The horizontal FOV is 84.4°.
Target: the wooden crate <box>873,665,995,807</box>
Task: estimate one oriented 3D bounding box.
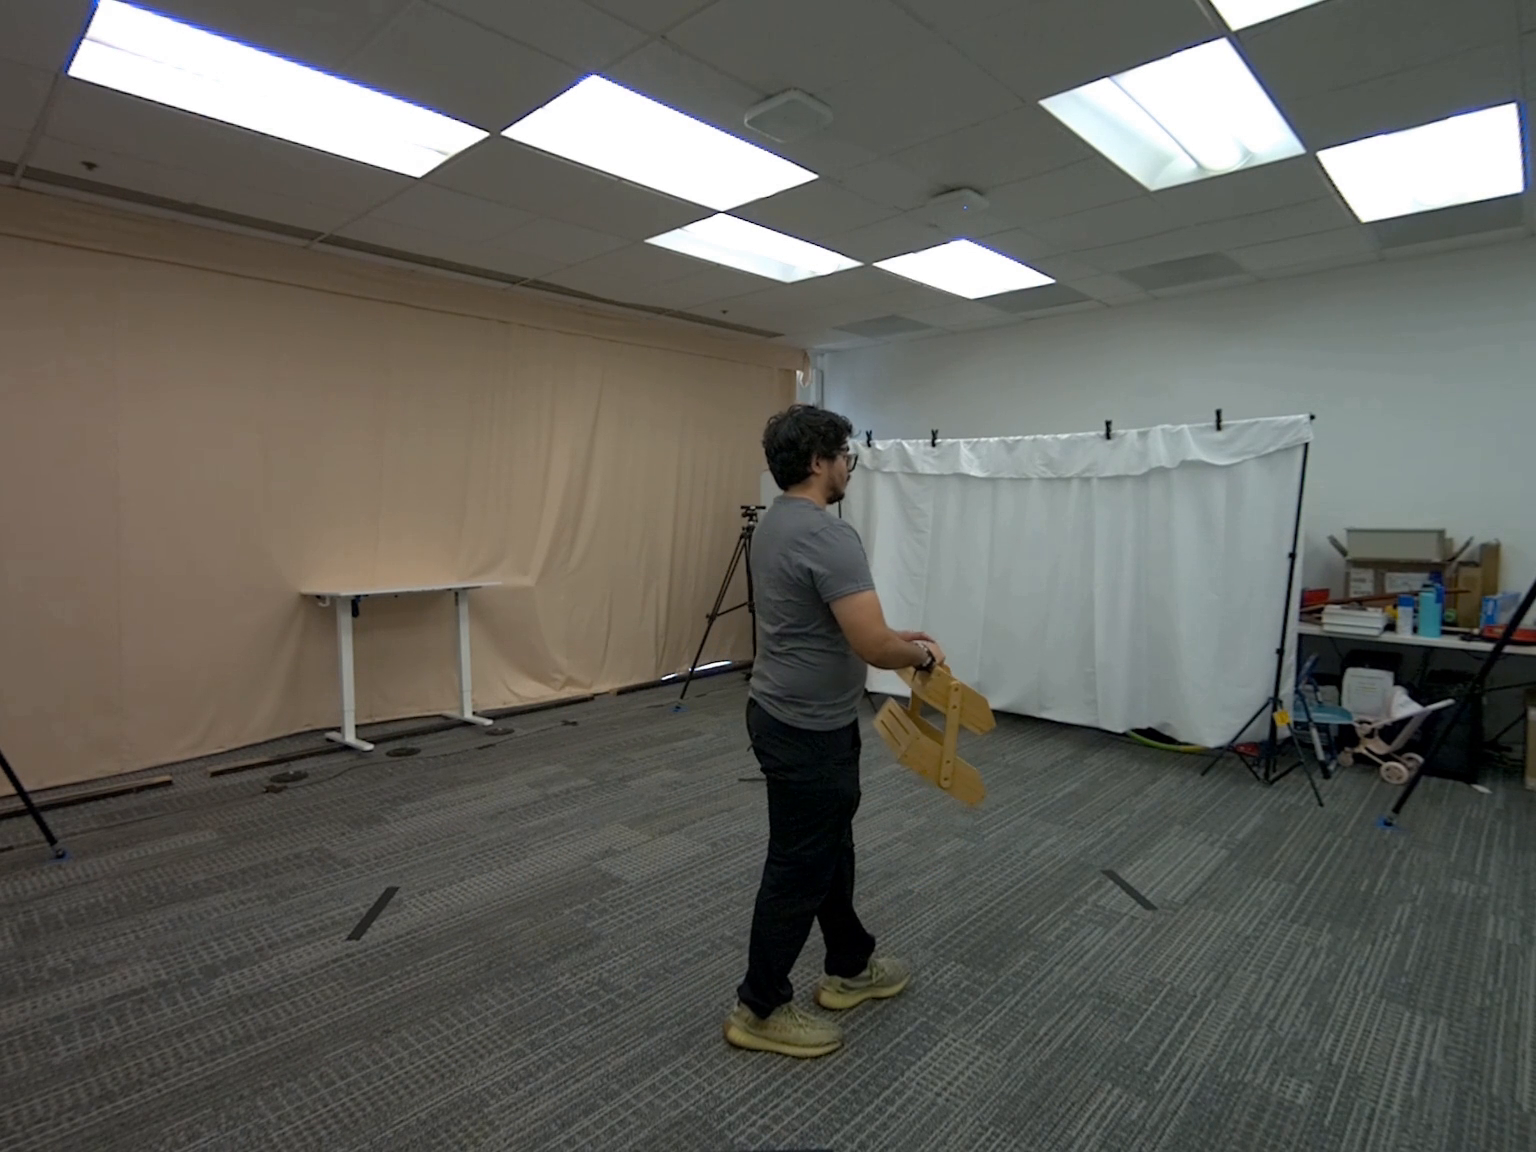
[{"bbox_3d":[0.496,0.398,2.303,0.298,0.273,0.328,33,1,-10],"label":"wooden crate"}]
